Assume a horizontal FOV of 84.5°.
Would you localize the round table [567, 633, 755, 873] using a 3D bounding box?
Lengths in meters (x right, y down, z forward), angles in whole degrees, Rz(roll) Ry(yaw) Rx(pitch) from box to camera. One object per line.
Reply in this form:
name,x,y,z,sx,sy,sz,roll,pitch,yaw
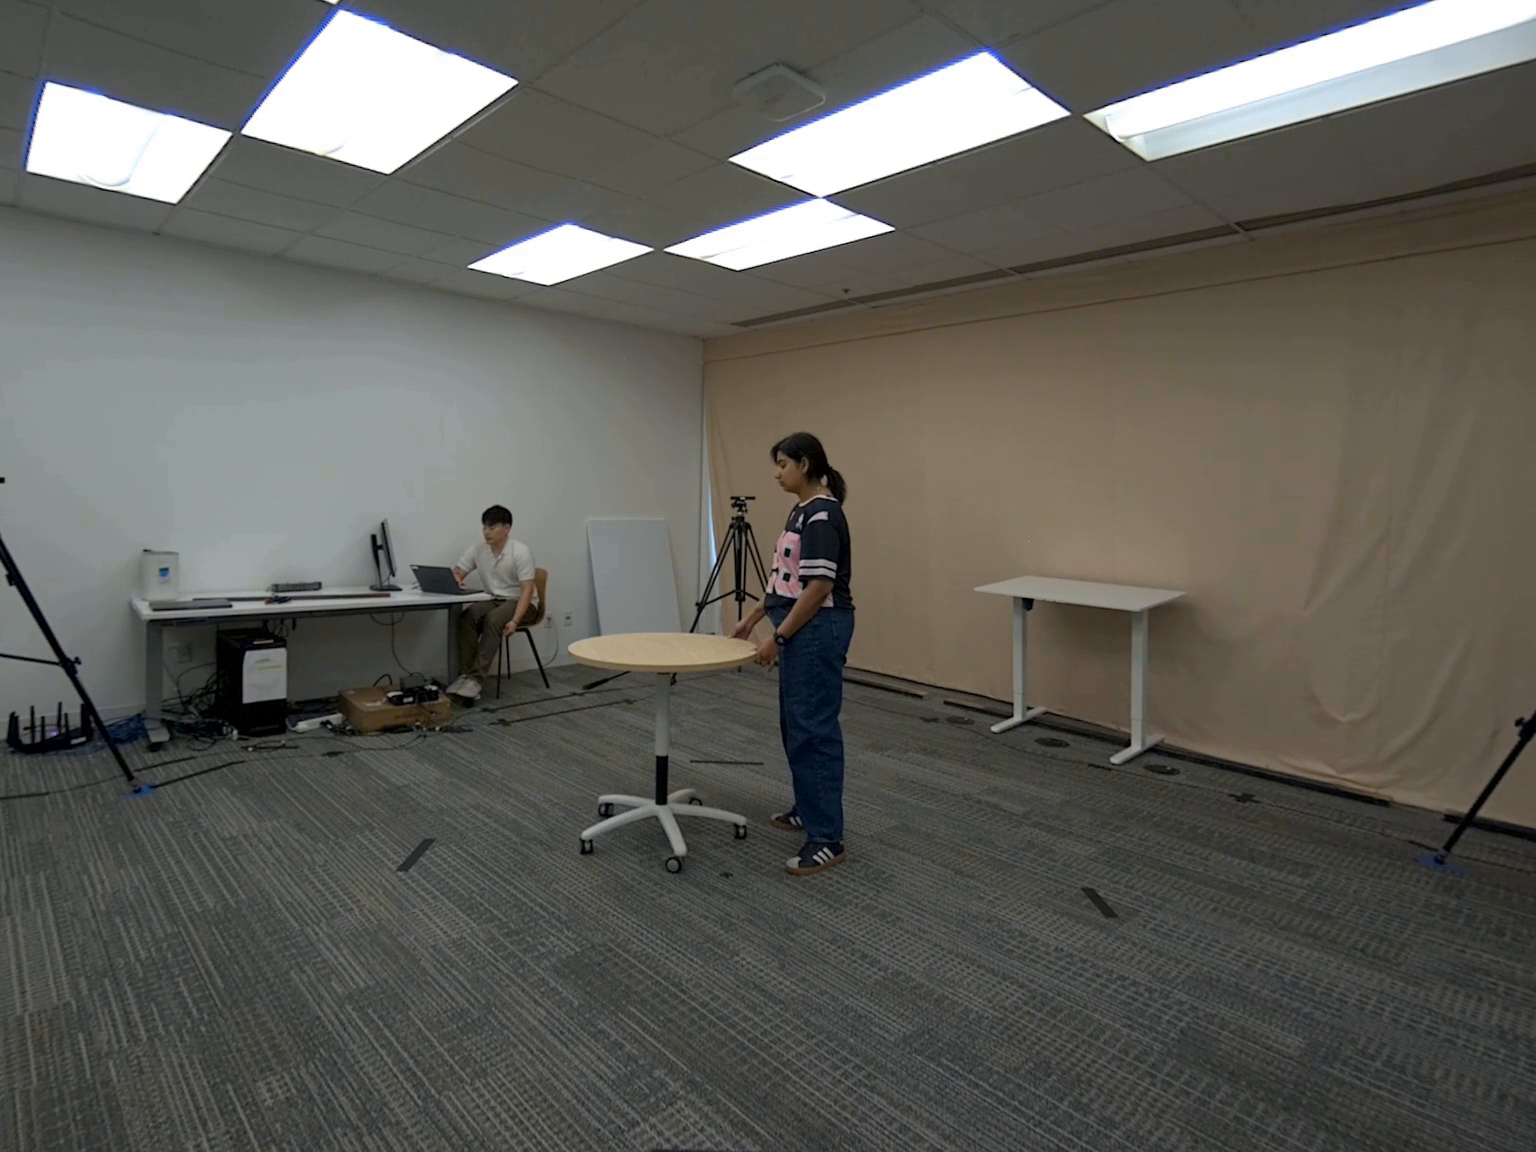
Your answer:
round table,-0.434,0.681,3.417,0.763,0.792,0.766,1,4,-1
